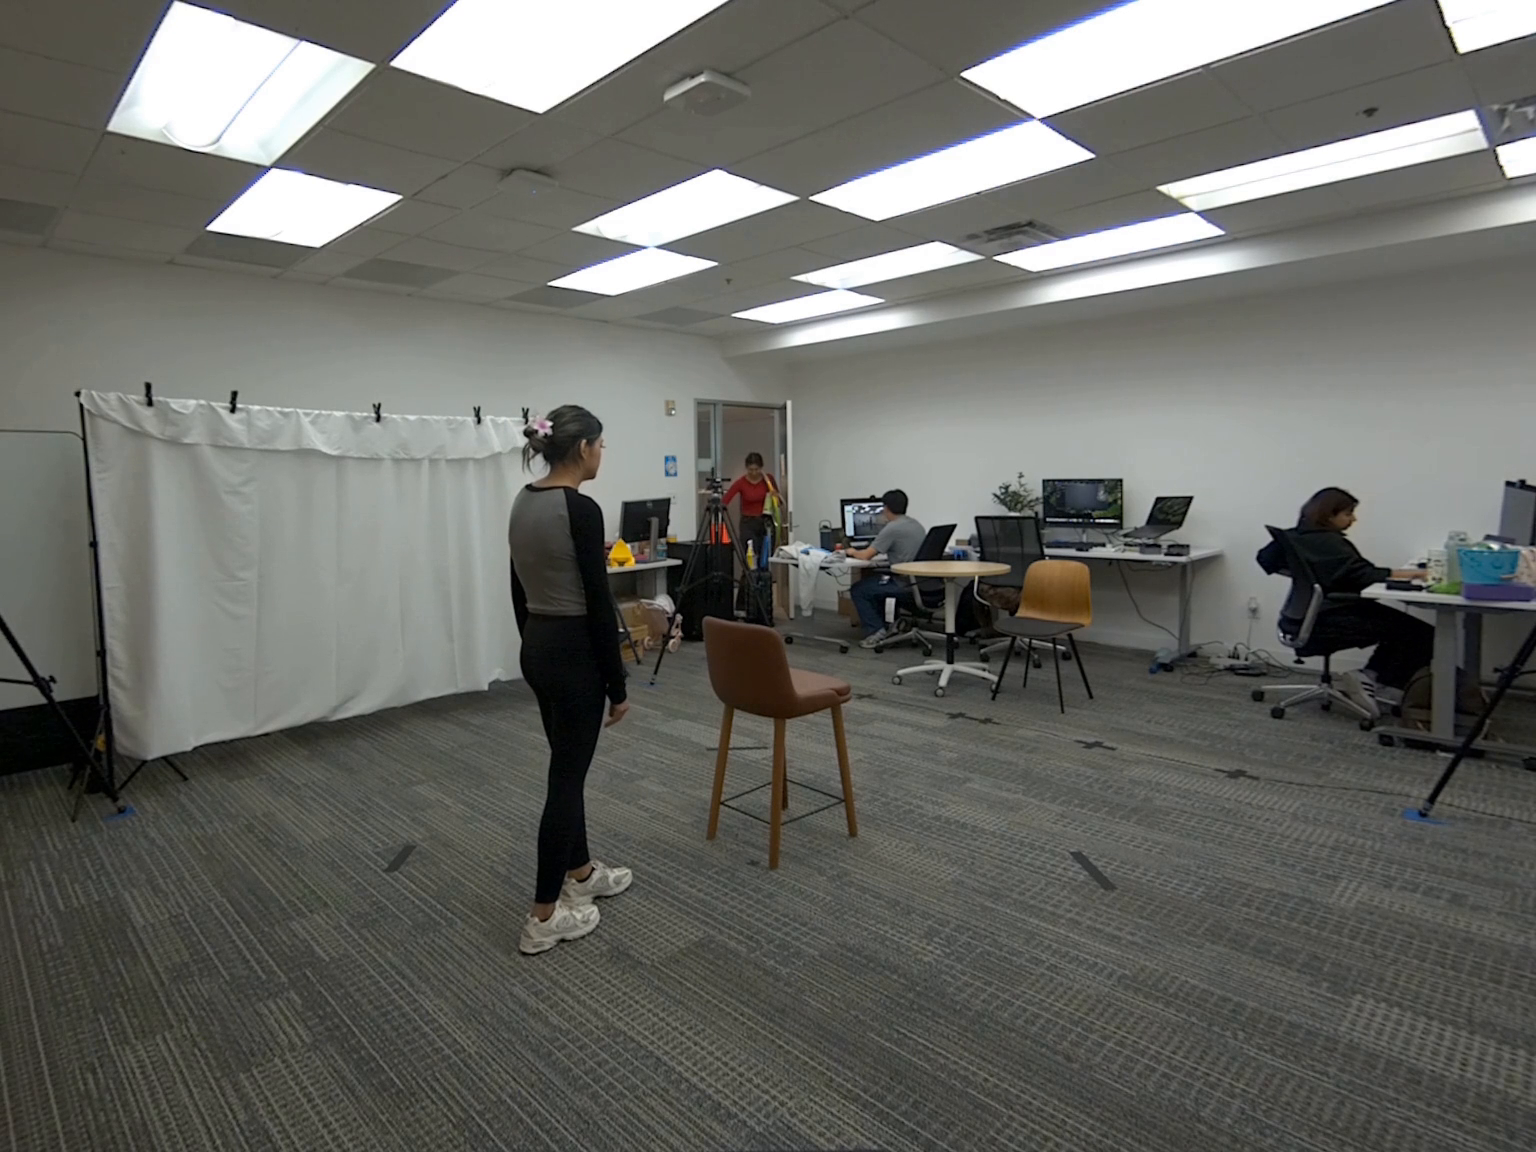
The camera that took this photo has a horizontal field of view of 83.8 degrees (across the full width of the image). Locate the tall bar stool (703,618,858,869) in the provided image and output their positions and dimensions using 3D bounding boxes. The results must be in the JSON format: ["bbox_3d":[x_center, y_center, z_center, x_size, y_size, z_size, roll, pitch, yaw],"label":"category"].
[{"bbox_3d":[0.040,0.584,3.301,0.456,0.885,0.471,-7,7,-42],"label":"tall bar stool"}]
